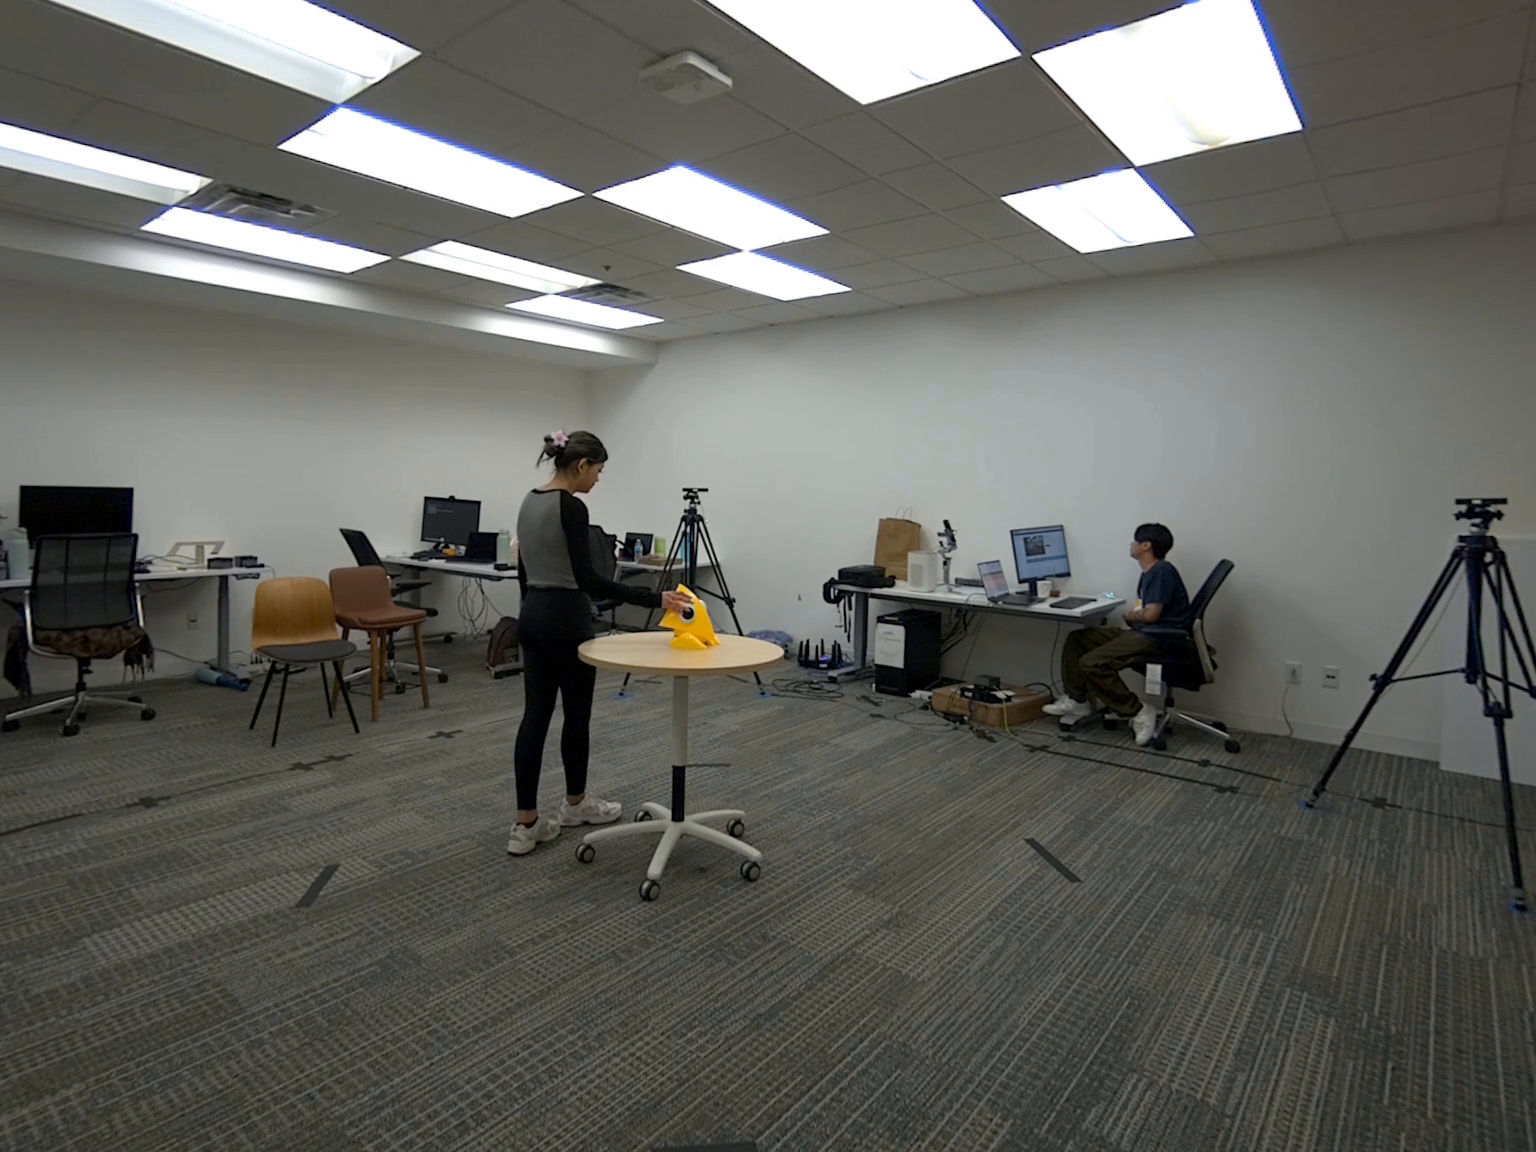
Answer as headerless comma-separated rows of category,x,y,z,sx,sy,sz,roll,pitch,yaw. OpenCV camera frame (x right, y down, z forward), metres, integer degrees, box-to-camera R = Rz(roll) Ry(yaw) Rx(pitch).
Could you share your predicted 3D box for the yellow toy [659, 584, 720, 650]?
yellow toy,-0.298,0.147,3.256,0.198,0.230,0.200,3,3,24
